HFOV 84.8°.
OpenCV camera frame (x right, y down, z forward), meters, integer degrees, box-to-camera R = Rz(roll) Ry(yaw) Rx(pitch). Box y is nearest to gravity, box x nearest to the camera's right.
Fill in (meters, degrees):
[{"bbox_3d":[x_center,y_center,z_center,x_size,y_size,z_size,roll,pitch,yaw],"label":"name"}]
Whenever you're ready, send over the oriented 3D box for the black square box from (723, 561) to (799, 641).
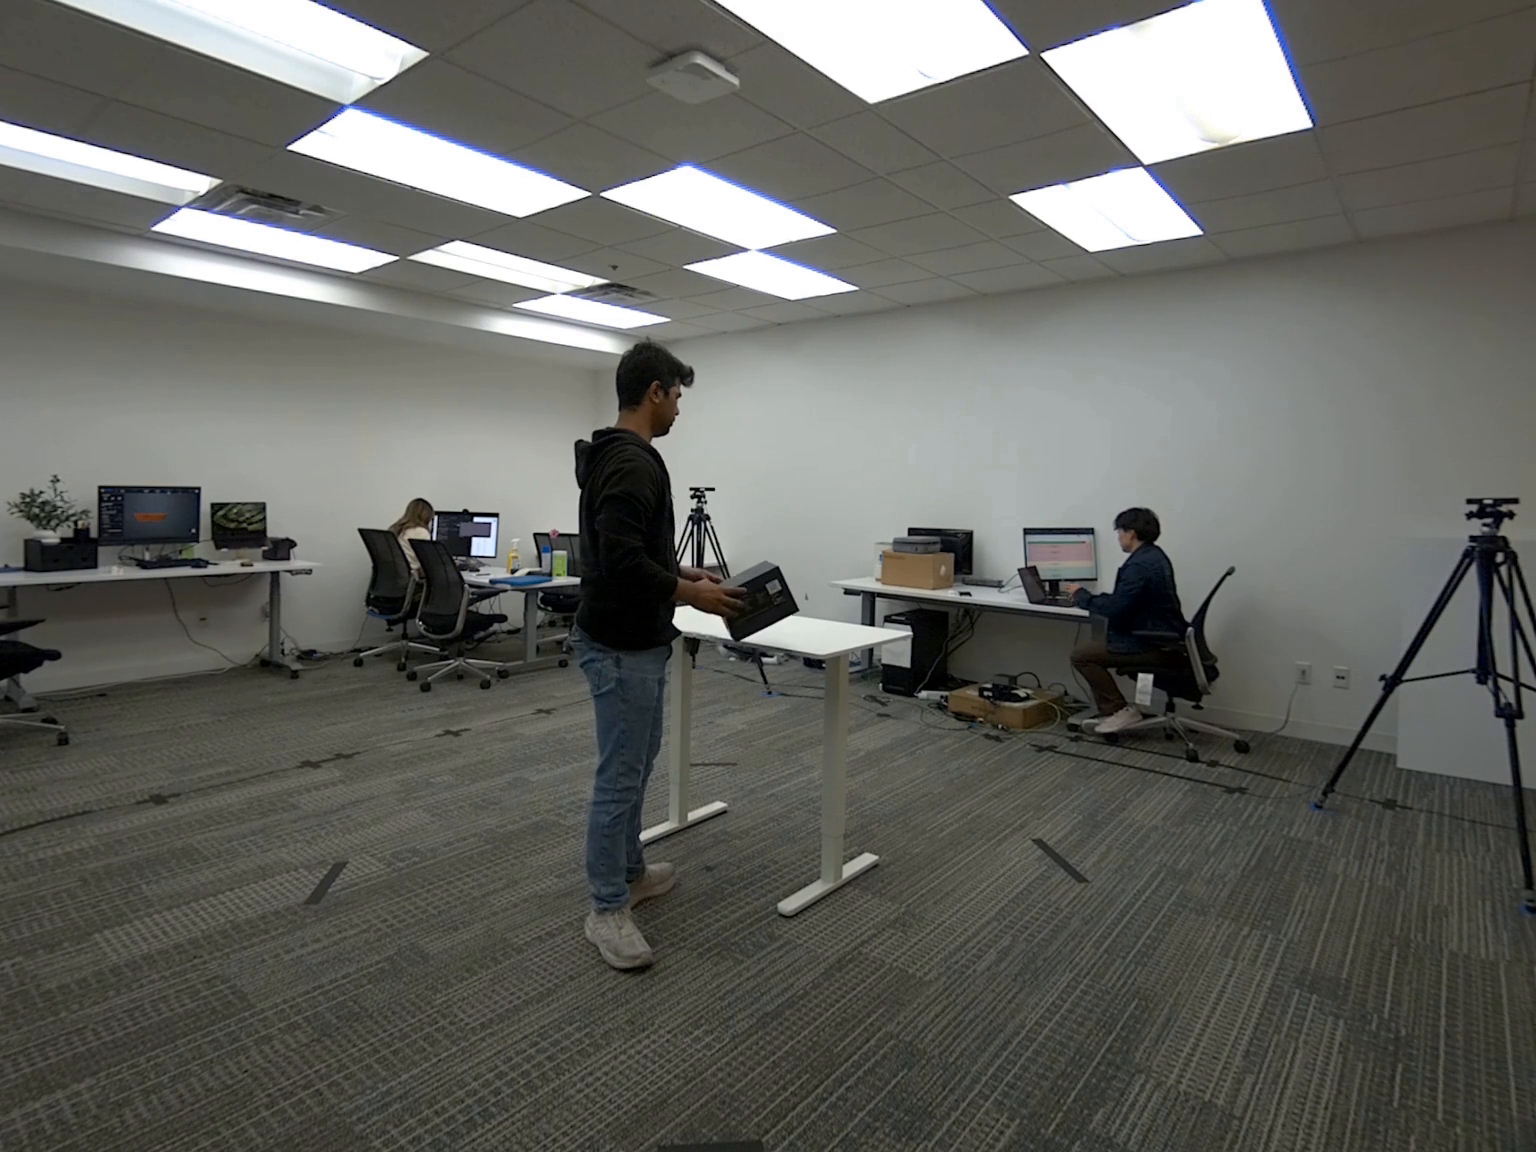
[{"bbox_3d":[-0.070,0.081,2.668,0.216,0.155,0.230,-25,7,-5],"label":"black square box"}]
